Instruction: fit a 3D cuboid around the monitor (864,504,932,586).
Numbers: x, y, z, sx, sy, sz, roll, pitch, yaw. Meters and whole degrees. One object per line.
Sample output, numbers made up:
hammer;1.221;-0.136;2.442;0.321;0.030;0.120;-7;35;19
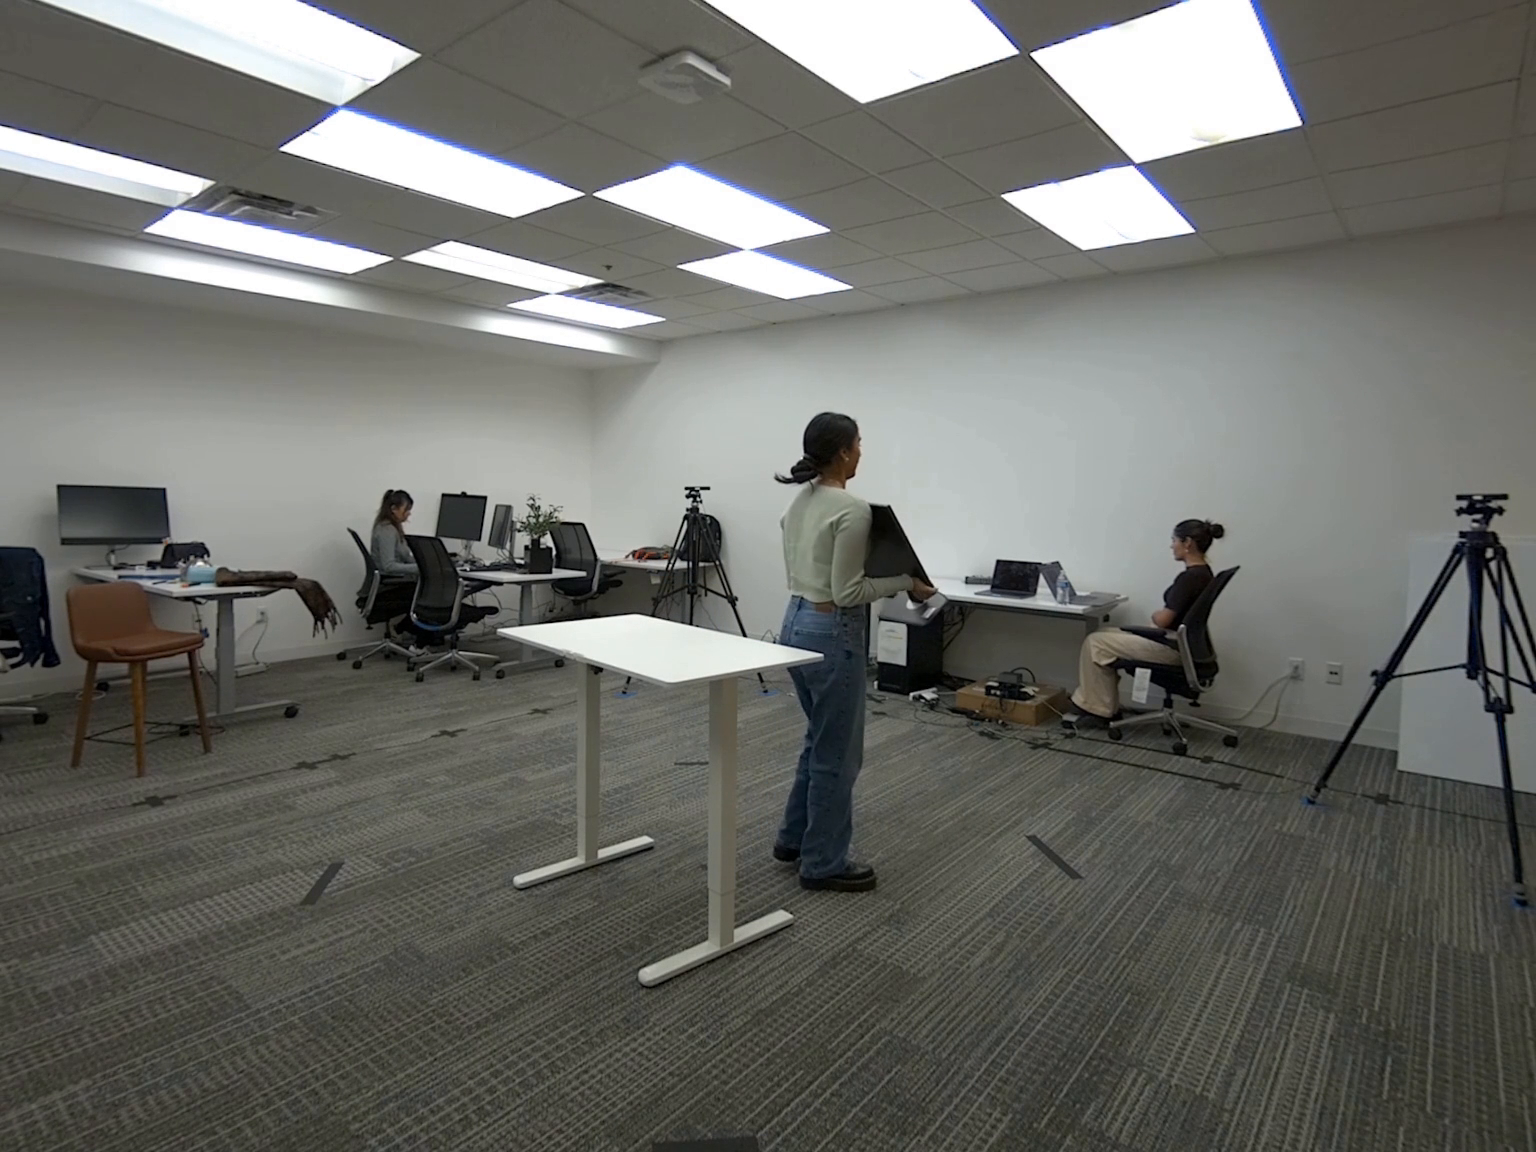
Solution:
monitor;0.405;-0.071;3.047;0.187;0.508;0.555;-45;22;-16
